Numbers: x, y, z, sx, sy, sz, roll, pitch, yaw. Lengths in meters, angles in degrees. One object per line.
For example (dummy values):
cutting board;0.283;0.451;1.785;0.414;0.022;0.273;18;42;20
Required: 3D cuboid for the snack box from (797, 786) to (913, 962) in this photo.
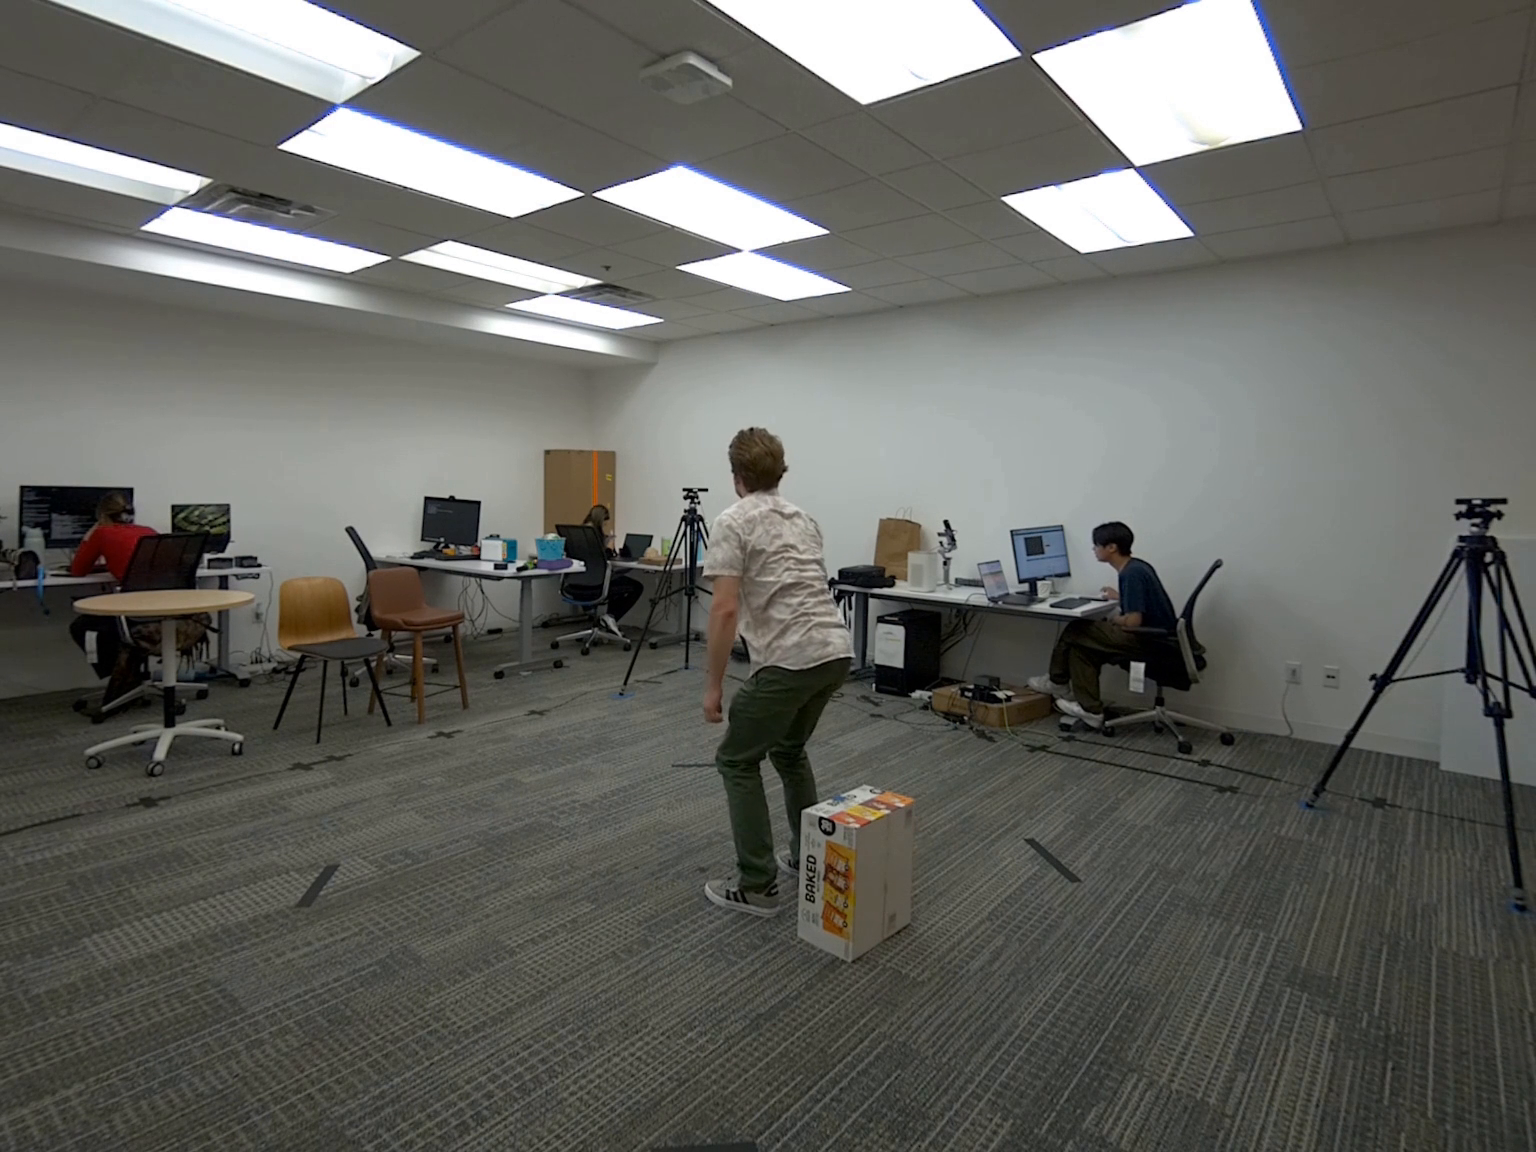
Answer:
snack box;0.281;0.921;2.686;0.212;0.404;0.330;3;4;42
